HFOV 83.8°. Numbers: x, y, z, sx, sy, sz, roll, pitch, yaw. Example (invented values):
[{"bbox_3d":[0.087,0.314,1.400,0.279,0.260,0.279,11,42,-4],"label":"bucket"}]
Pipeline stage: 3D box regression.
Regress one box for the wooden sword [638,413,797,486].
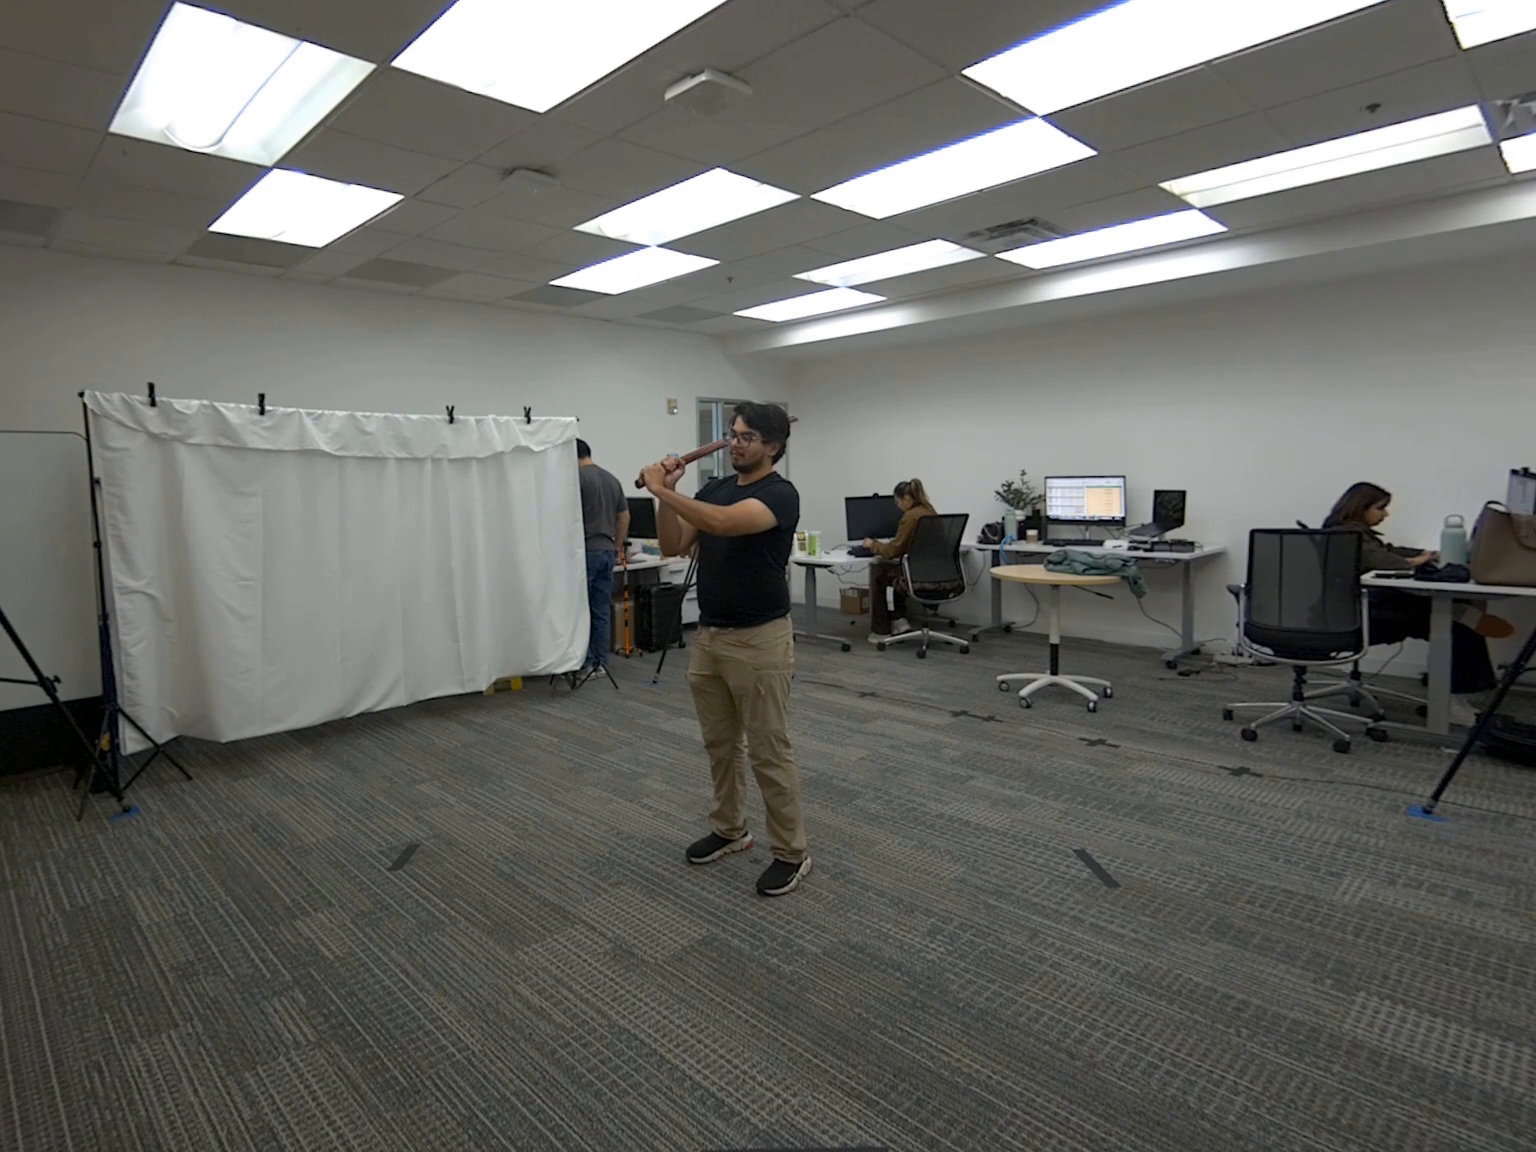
[{"bbox_3d":[-0.154,-0.500,3.196,0.024,0.052,1.013,-44,-7,39],"label":"wooden sword"}]
